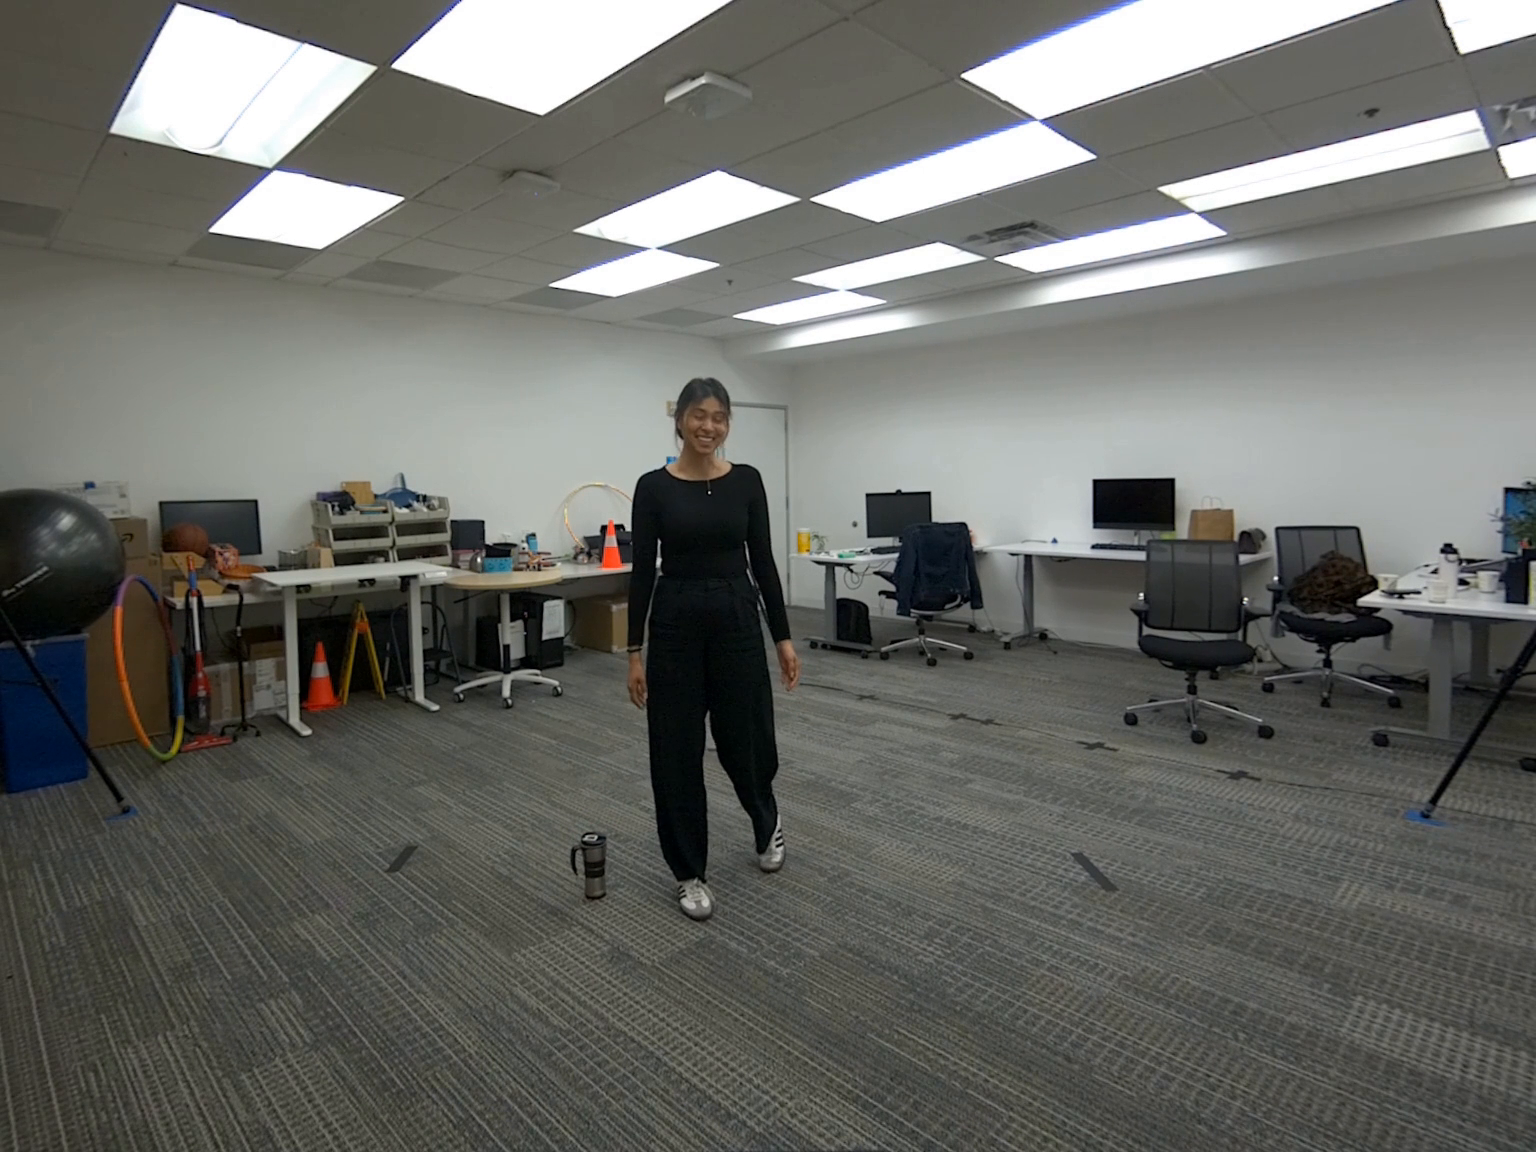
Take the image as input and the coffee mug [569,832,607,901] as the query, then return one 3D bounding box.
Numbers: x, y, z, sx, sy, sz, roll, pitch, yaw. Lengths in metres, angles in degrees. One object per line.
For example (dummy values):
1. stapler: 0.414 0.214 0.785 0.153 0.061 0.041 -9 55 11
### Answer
1. coffee mug: -0.605 0.987 2.889 0.121 0.202 0.089 2 6 -8
